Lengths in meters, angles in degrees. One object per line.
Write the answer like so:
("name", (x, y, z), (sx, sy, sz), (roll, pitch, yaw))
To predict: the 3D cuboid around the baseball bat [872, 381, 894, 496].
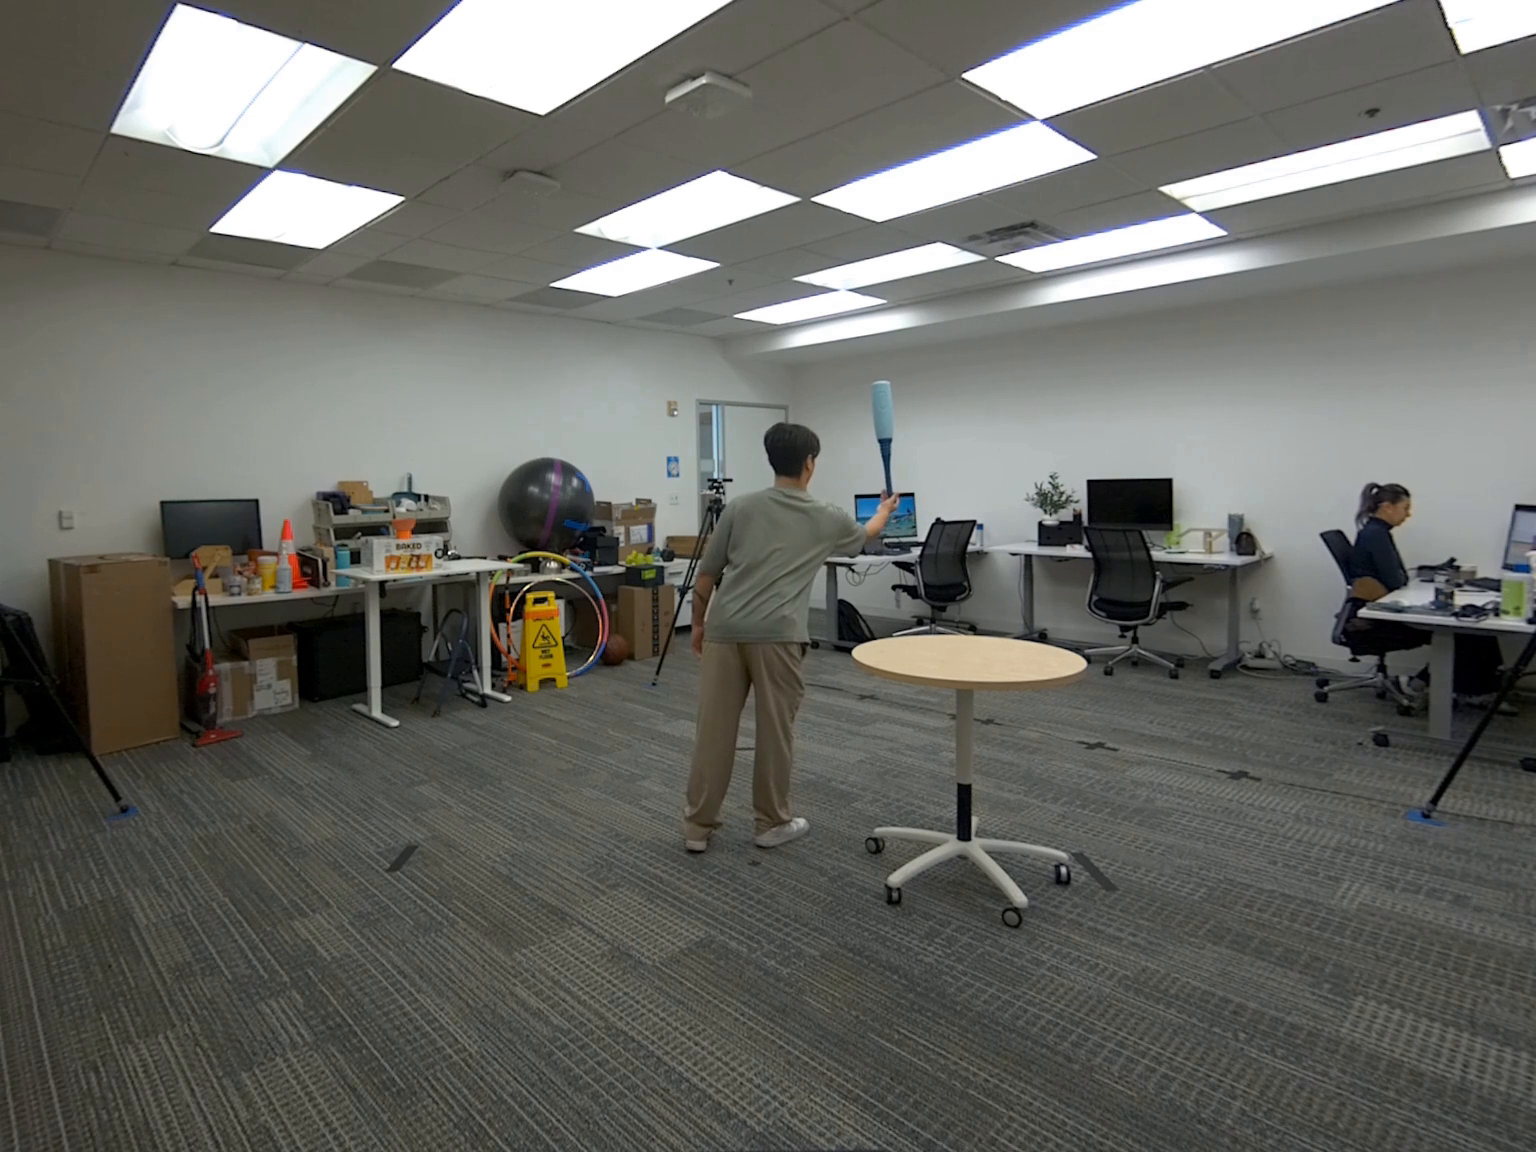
("baseball bat", (0.519, -0.593, 3.795), (0.089, 0.541, 0.089), (-4, 3, -1))
